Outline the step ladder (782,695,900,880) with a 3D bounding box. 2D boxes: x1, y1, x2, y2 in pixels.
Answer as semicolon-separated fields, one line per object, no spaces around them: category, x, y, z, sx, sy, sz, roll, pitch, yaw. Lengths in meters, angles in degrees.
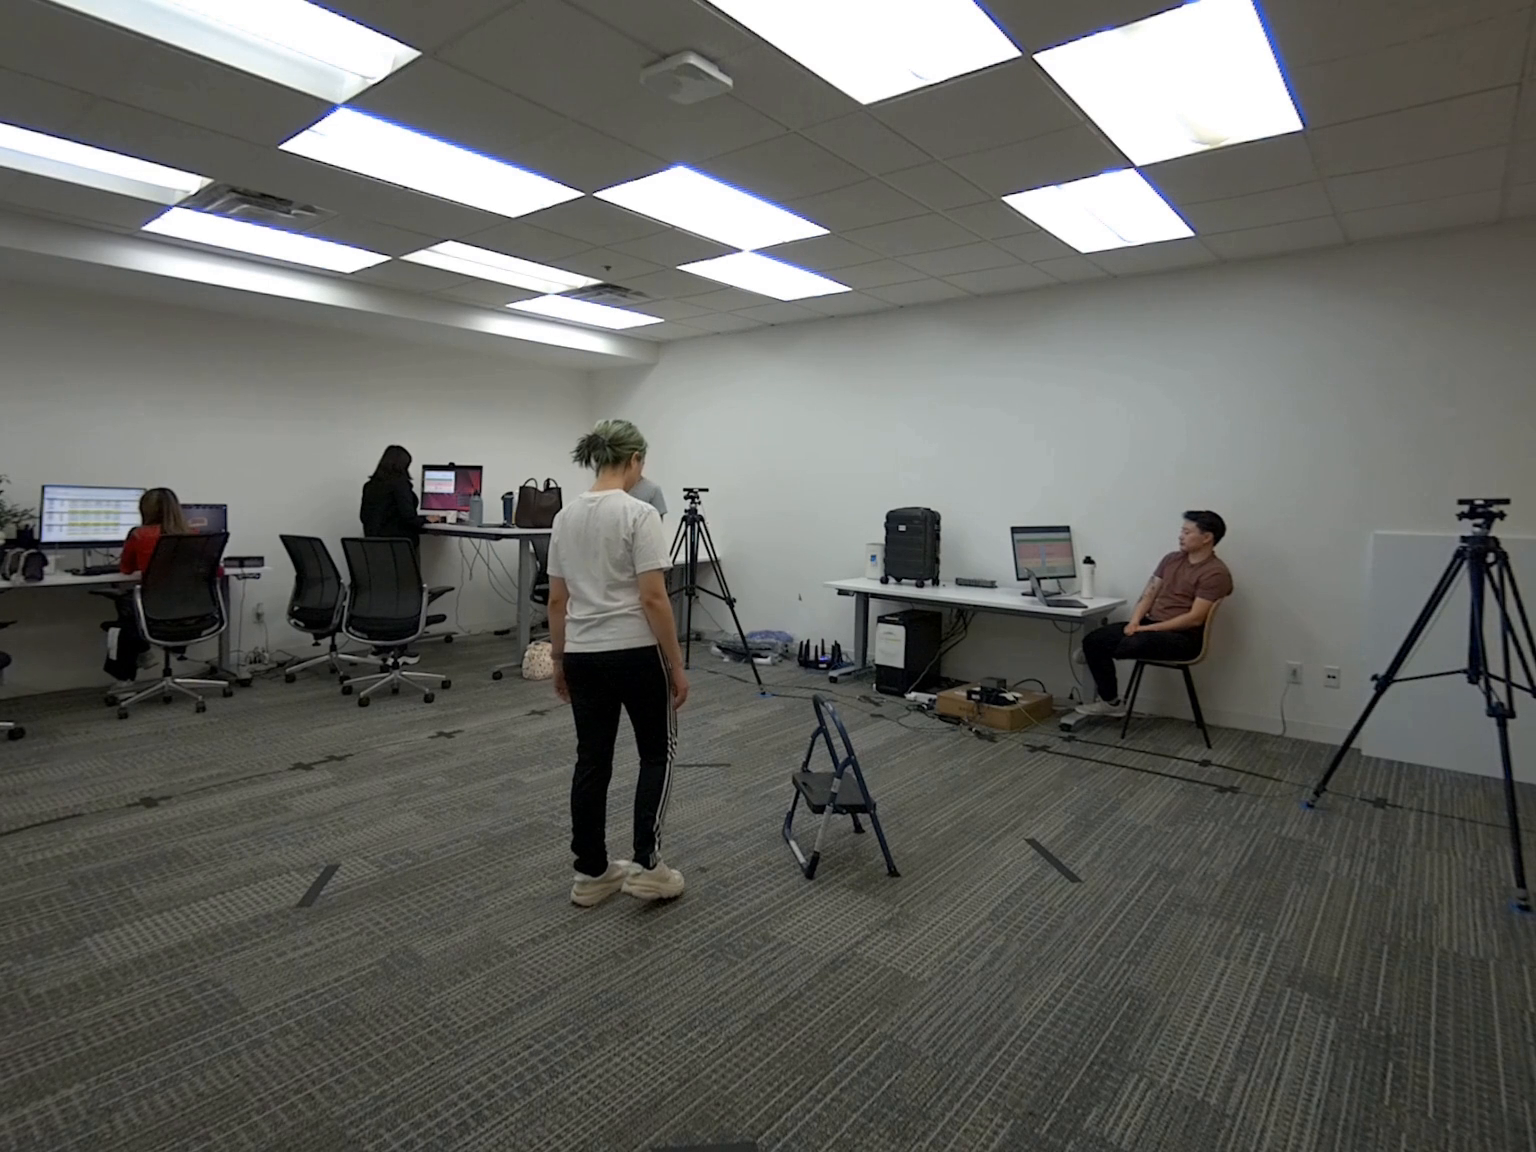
step ladder;0.263;0.762;3.254;0.345;0.605;0.437;1;3;-11
